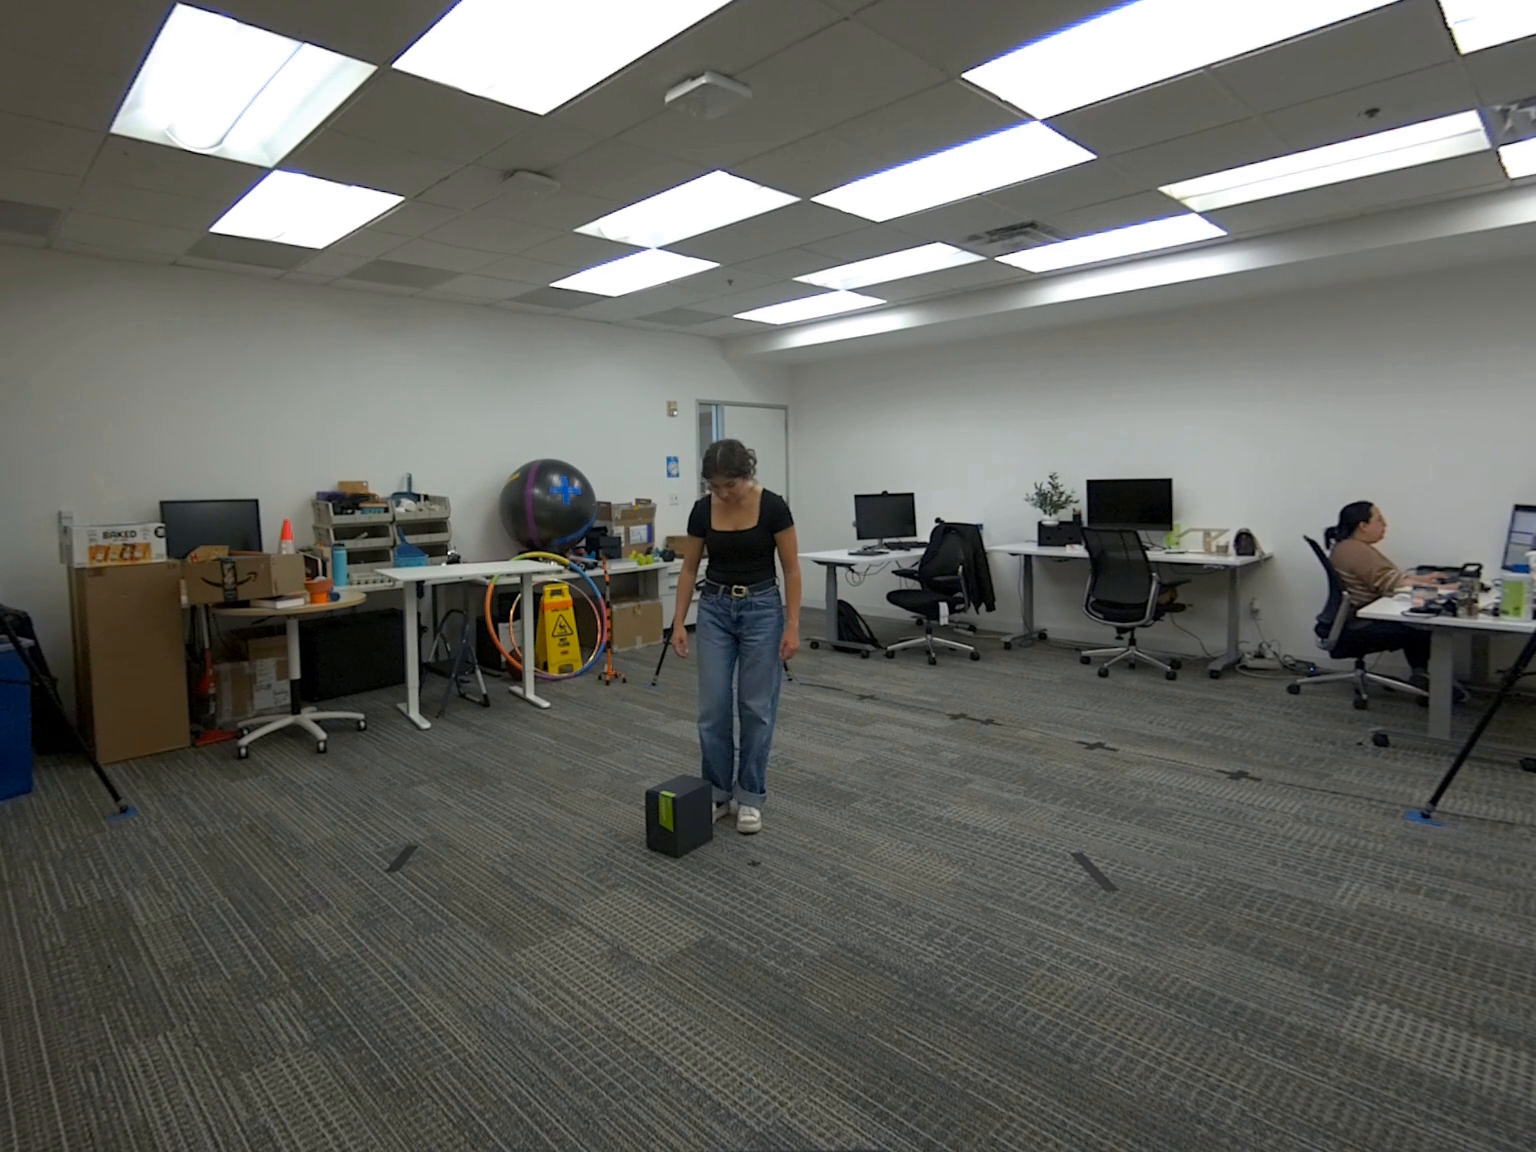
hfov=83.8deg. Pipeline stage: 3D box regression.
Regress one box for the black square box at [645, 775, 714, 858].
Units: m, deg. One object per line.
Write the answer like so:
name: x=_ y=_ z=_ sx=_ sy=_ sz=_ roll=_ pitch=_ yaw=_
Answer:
black square box: x=-0.337 y=0.909 z=3.272 sx=0.160 sy=0.227 sz=0.212 roll=2 pitch=6 yaw=36
